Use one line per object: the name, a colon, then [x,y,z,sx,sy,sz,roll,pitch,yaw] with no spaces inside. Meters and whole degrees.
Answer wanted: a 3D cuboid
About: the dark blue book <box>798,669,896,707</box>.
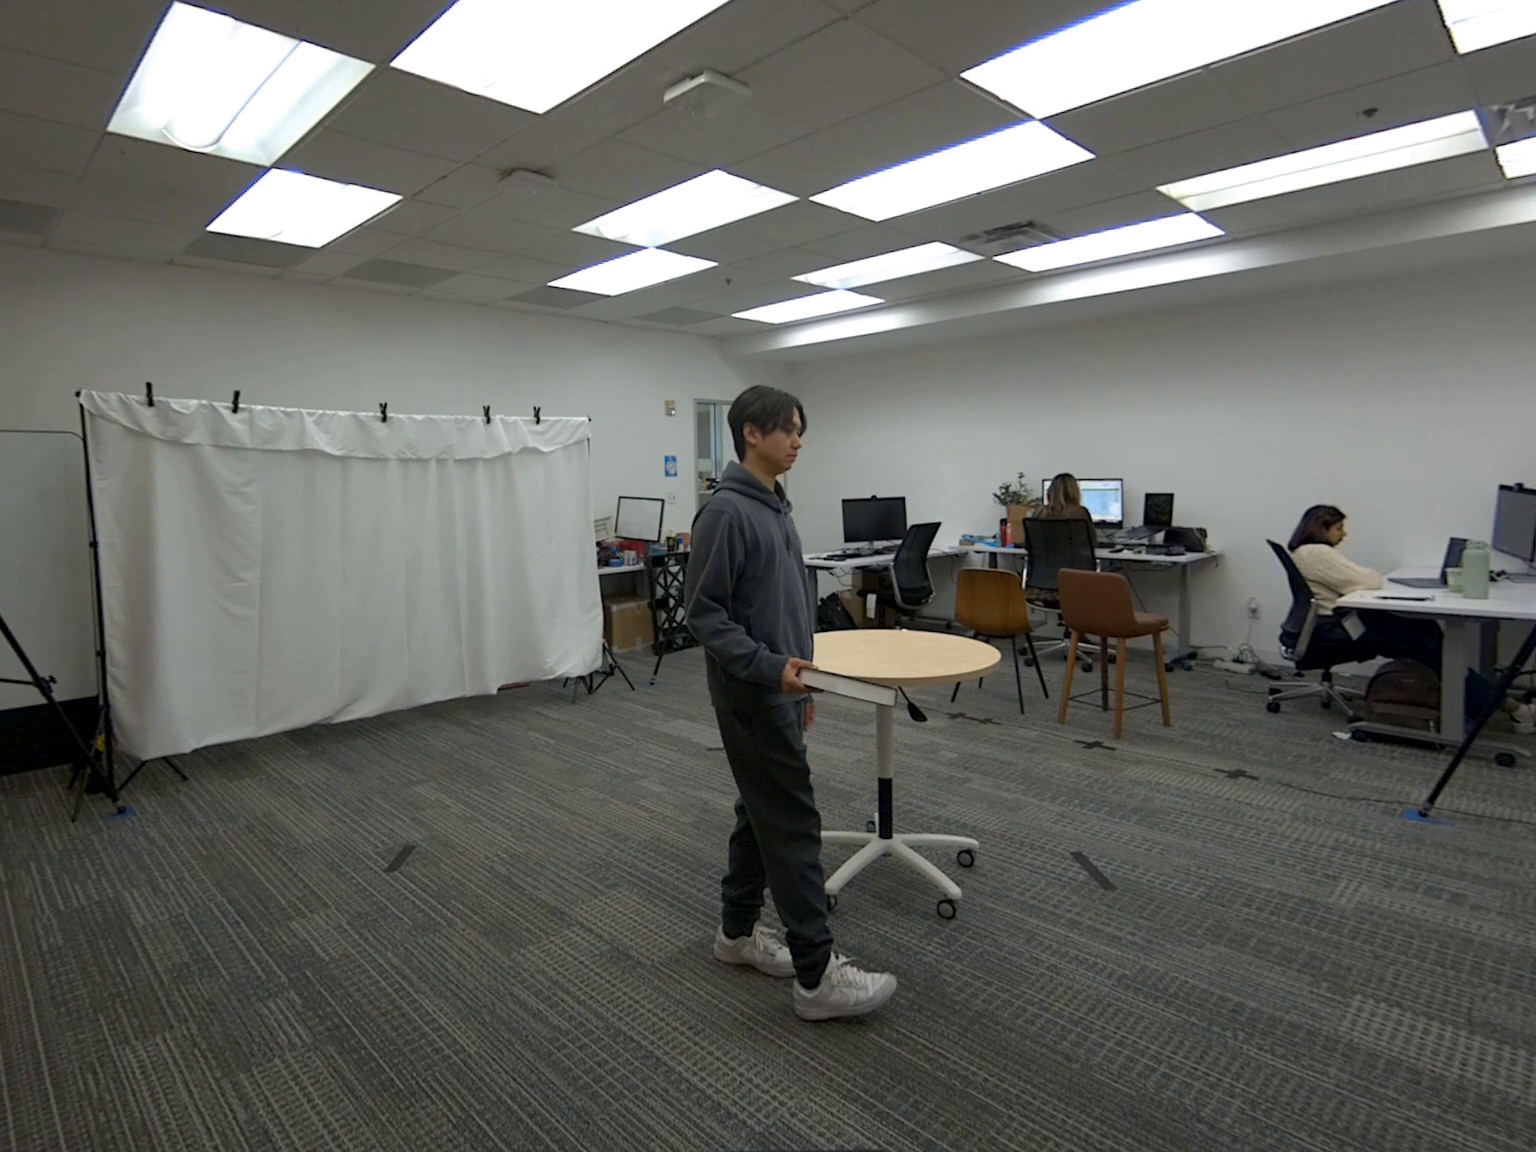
dark blue book: [0.190,0.267,2.065,0.159,0.045,0.250,13,-5,-24]
